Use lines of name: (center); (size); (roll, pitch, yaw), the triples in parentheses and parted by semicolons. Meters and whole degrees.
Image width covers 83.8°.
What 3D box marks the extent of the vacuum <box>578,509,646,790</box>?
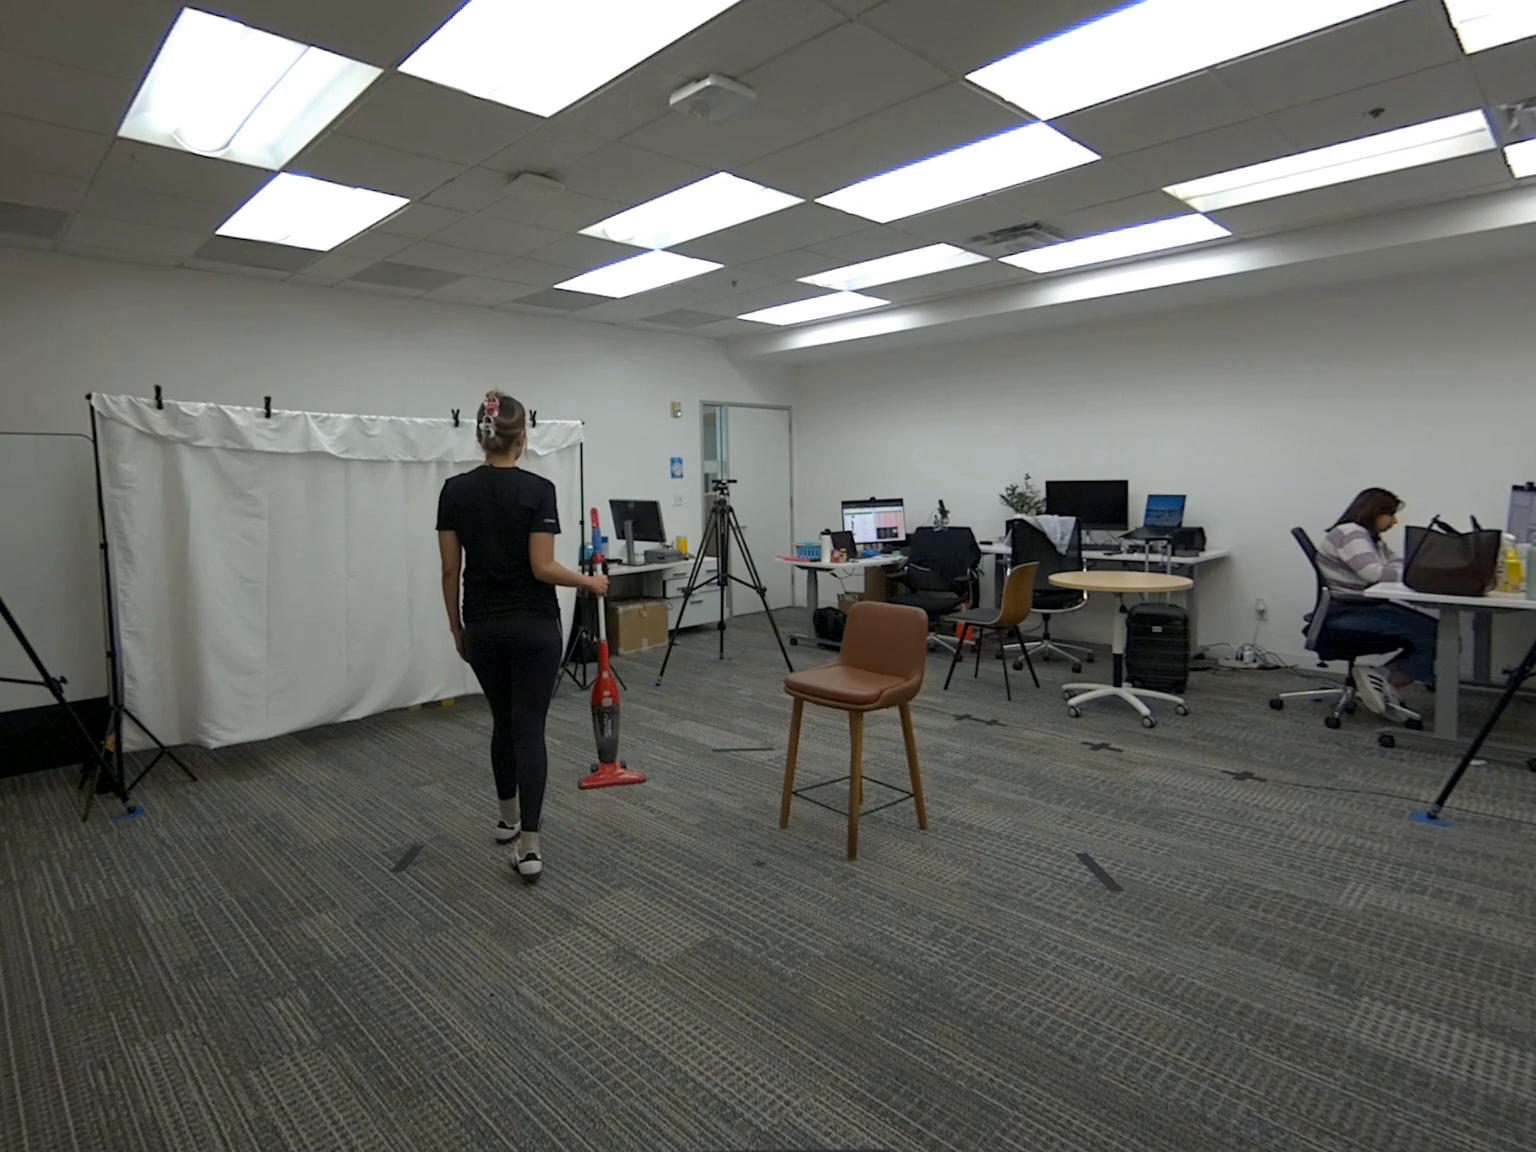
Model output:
vacuum: (-0.648, 0.251, 3.332); (0.247, 1.062, 0.145); (-2, -13, -25)
